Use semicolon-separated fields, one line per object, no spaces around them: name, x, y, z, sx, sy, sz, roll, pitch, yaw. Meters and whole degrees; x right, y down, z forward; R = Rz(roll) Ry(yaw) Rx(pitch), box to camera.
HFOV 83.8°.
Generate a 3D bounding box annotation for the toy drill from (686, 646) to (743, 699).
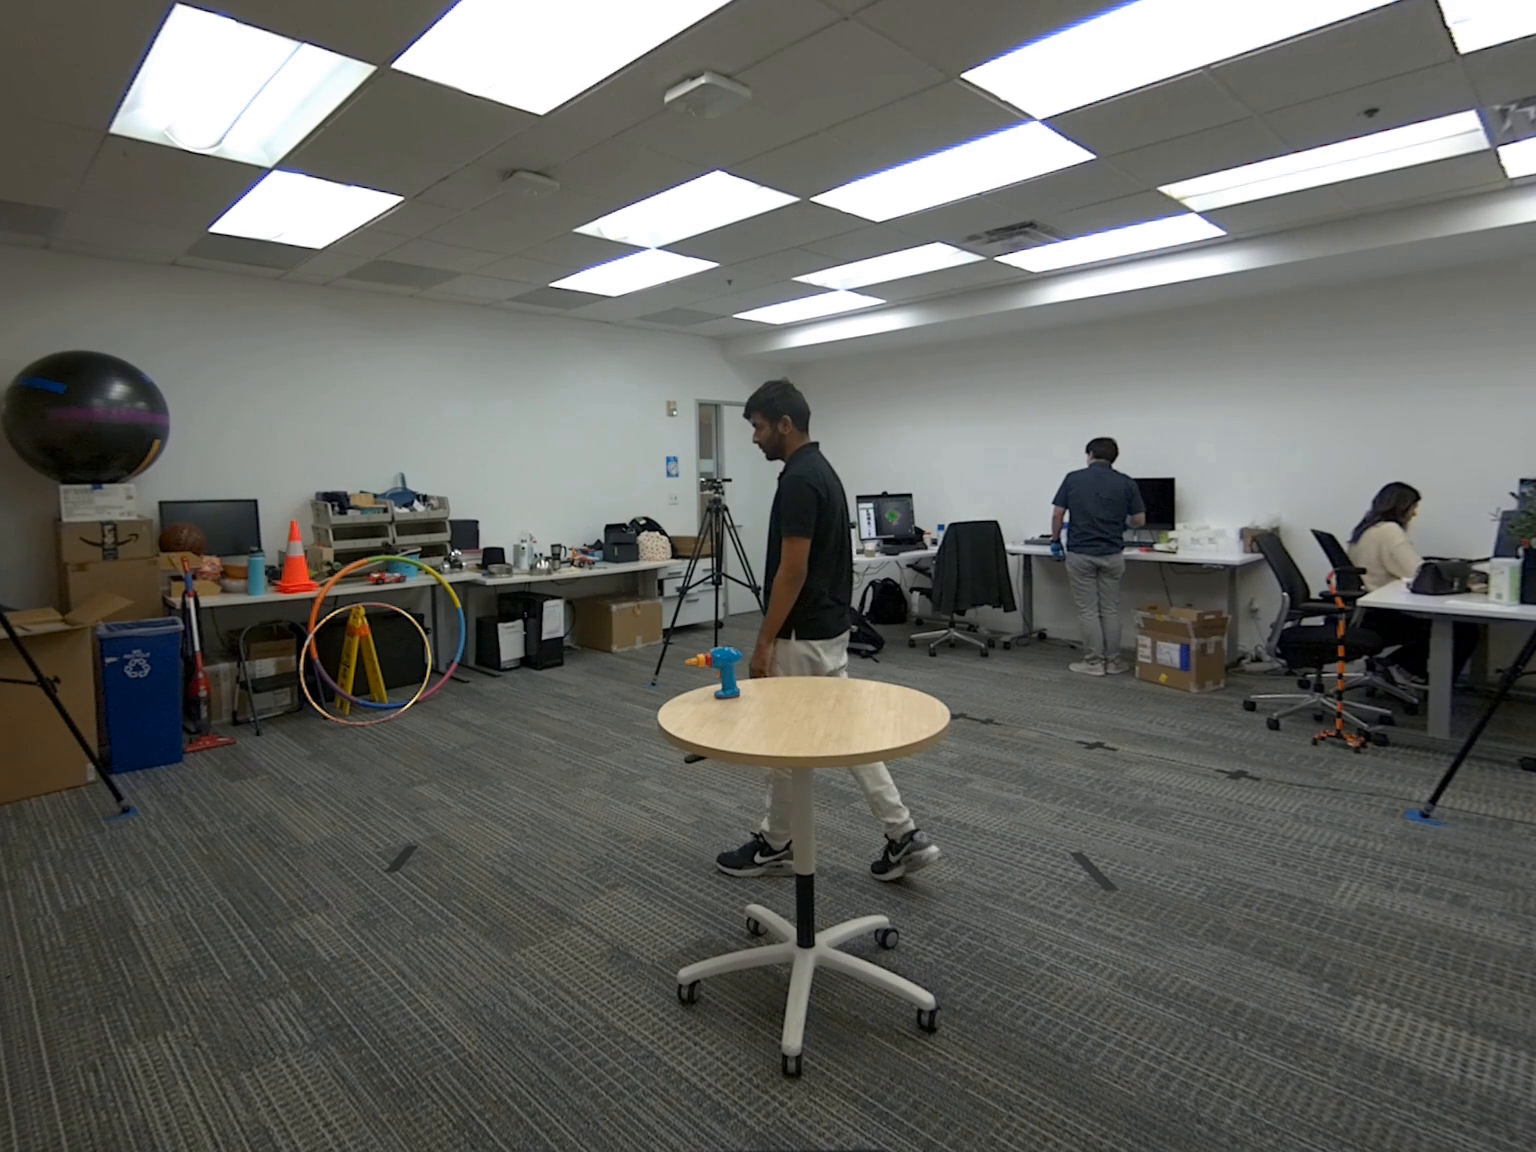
toy drill;-0.151;0.274;2.407;0.166;0.145;0.062;-3;5;-24
